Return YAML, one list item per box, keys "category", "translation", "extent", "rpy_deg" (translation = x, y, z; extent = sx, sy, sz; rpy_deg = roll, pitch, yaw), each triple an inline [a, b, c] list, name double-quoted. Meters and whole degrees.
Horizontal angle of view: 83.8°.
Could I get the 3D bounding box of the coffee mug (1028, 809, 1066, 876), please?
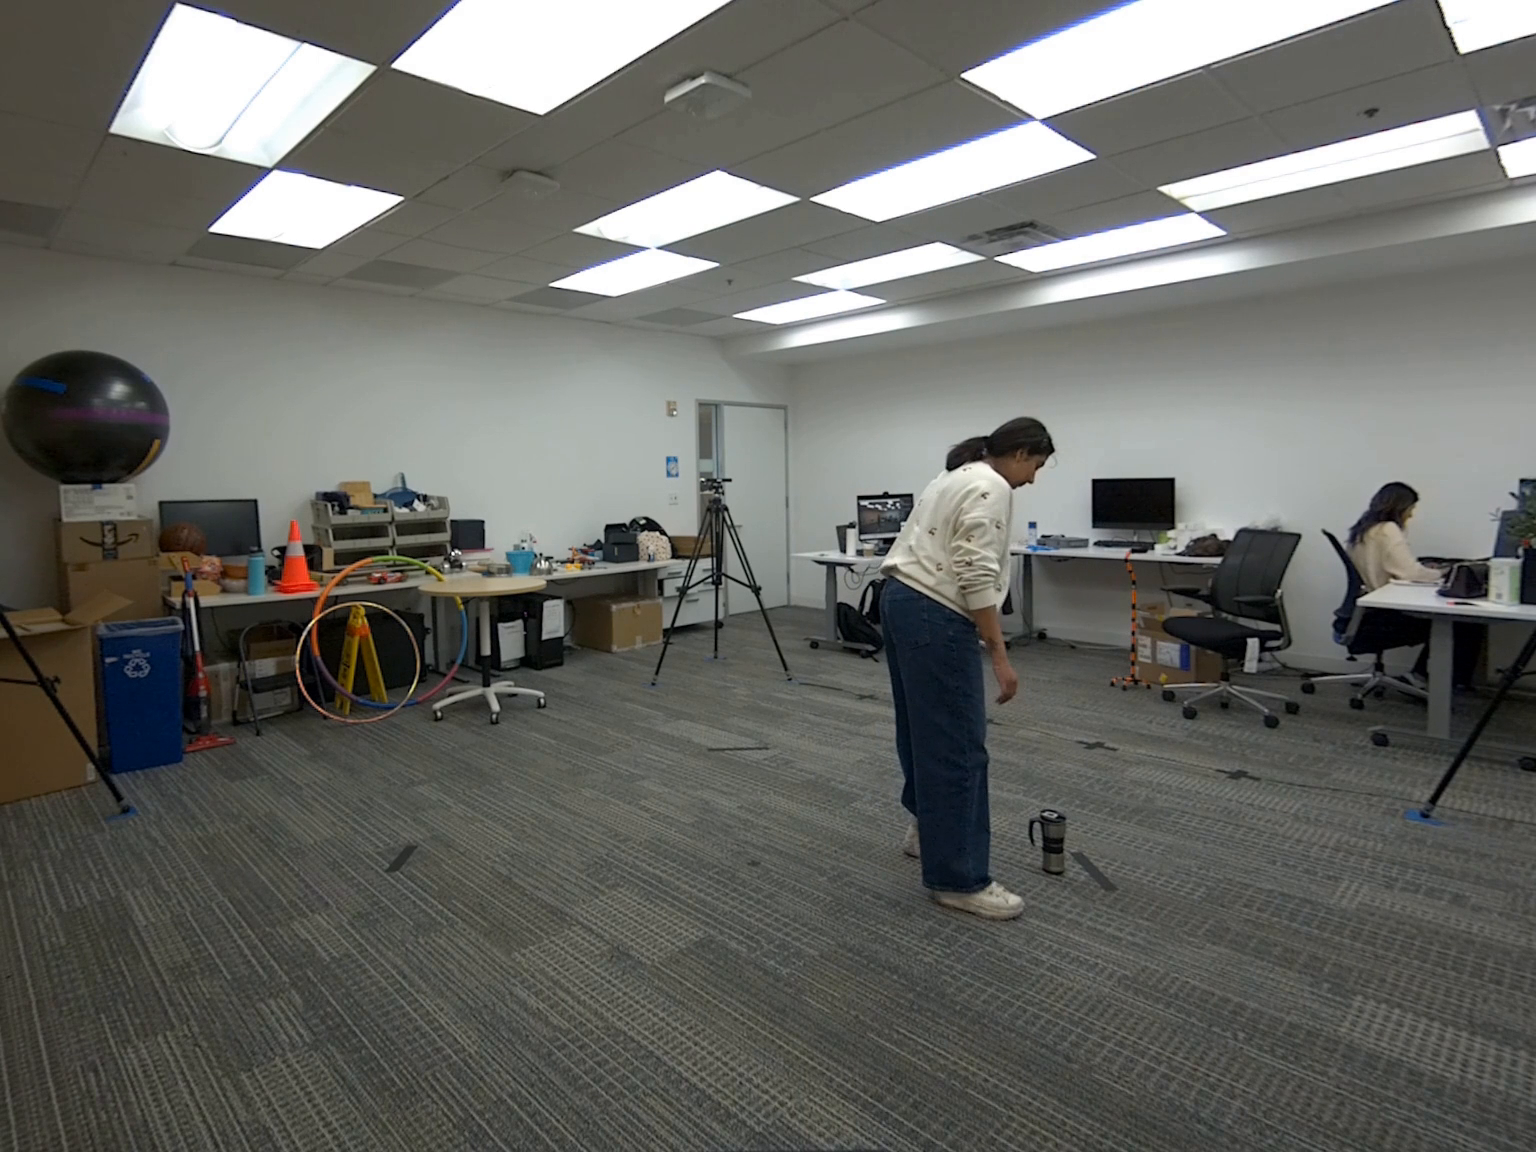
- category: "coffee mug"
  translation: [1.000, 0.941, 3.014]
  extent: [0.126, 0.201, 0.086]
  rpy_deg: [8, 11, 41]
